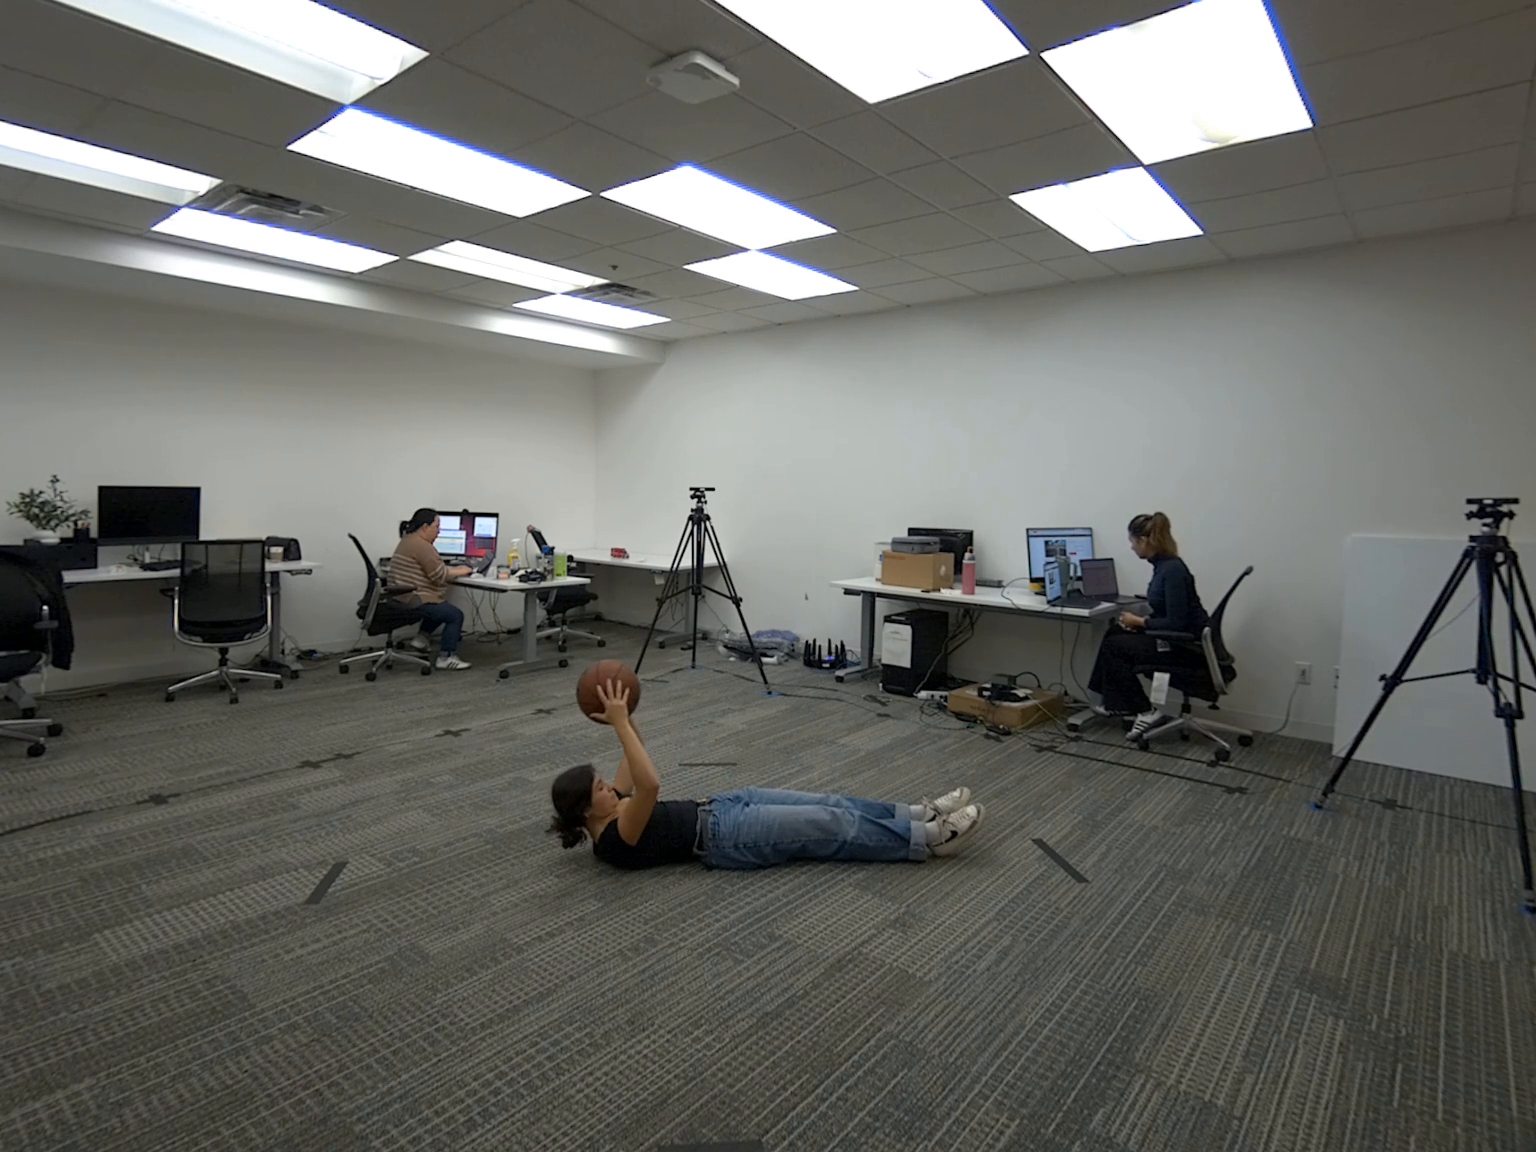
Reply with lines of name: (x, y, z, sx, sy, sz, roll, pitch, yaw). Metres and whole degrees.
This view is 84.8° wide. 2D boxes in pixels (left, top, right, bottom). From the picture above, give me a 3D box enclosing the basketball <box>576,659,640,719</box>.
basketball: (-0.609, 0.439, 3.164, 0.235, 0.235, 0.237, 1, 4, -2)
